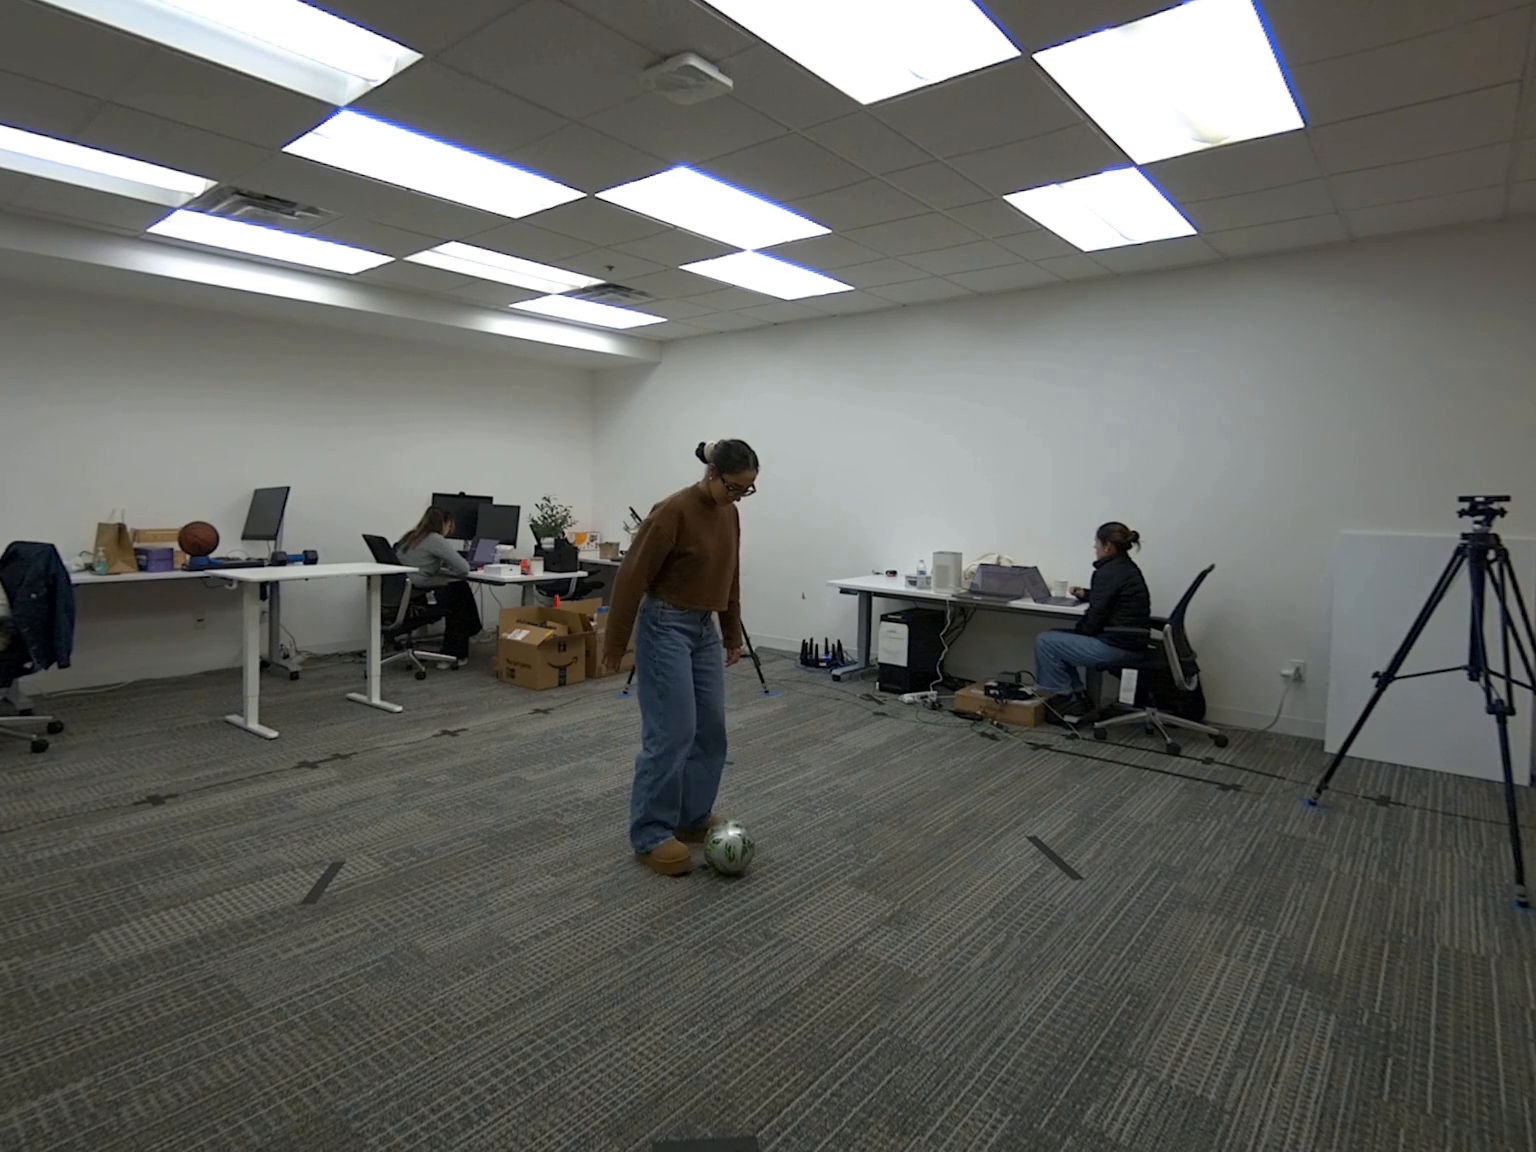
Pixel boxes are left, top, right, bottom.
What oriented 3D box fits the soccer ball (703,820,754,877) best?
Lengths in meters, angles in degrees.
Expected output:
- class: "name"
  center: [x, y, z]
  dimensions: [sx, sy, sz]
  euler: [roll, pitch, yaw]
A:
- class: "soccer ball"
  center: [-0.148, 0.977, 3.074]
  dimensions: [0.187, 0.187, 0.188]
  euler: [1, 4, -2]
